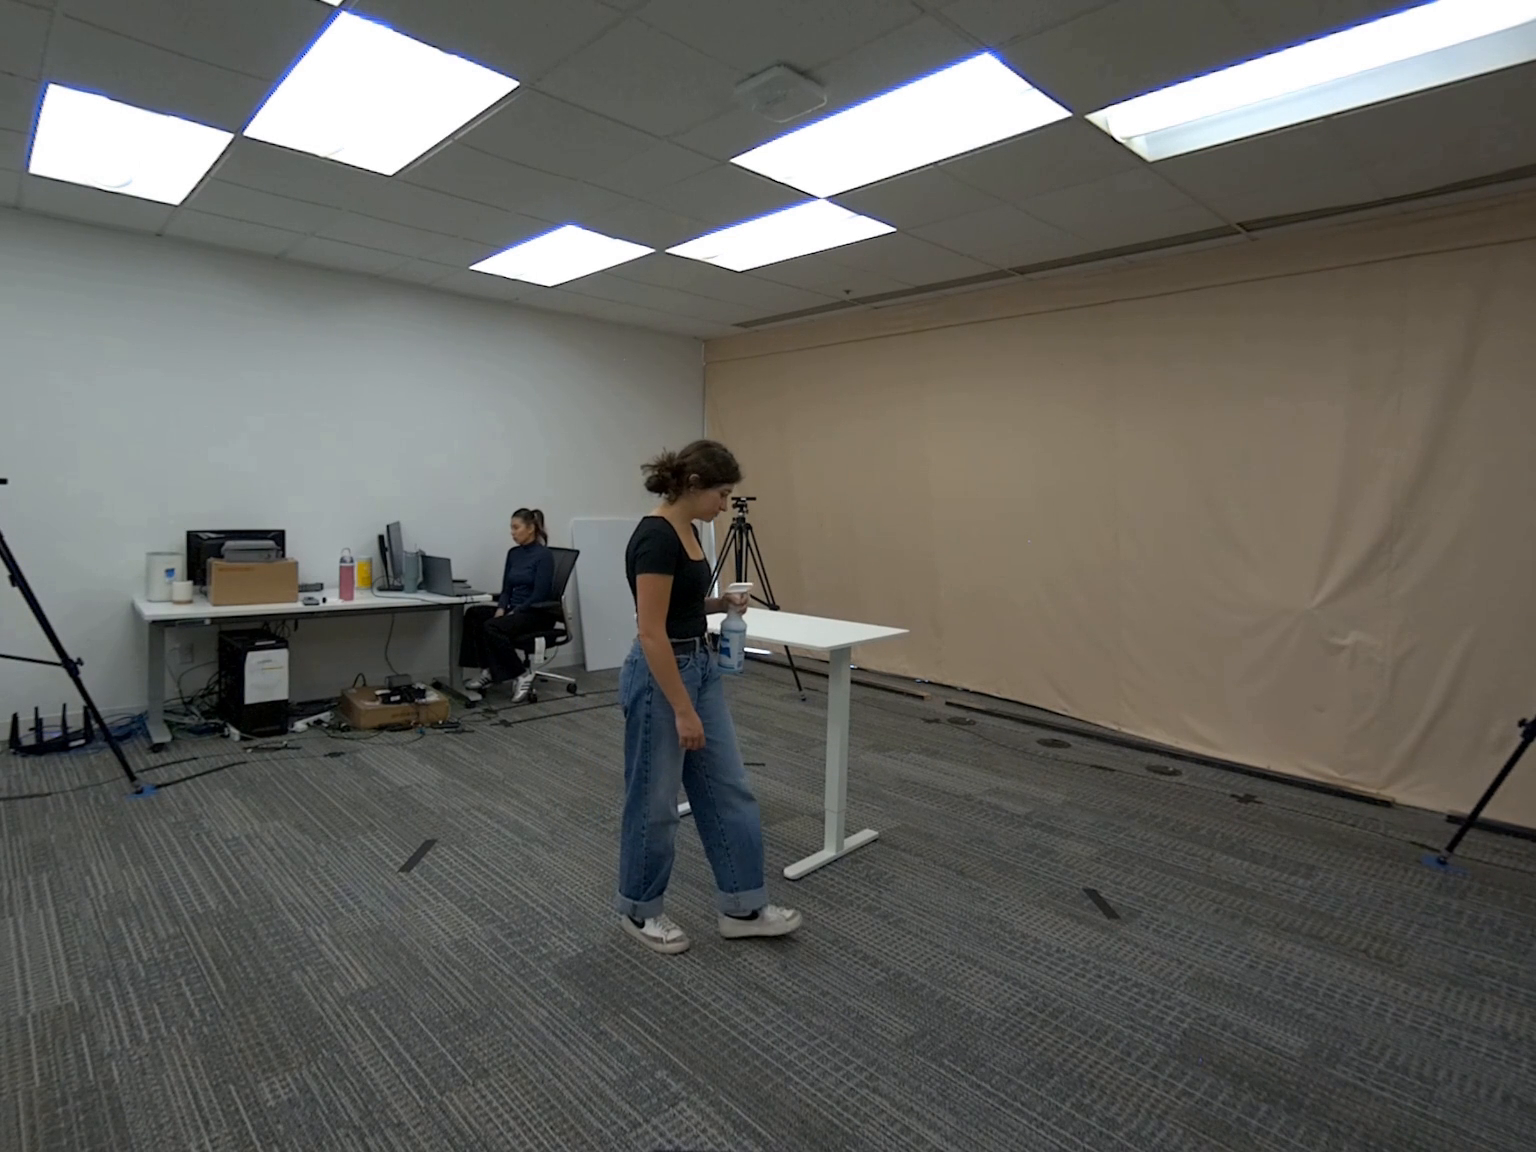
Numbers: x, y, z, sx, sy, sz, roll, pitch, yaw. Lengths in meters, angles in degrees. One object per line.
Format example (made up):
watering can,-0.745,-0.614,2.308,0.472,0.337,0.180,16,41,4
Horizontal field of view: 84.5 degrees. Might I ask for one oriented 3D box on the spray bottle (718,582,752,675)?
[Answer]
spray bottle,-0.114,0.166,2.697,0.091,0.295,0.086,11,14,15
